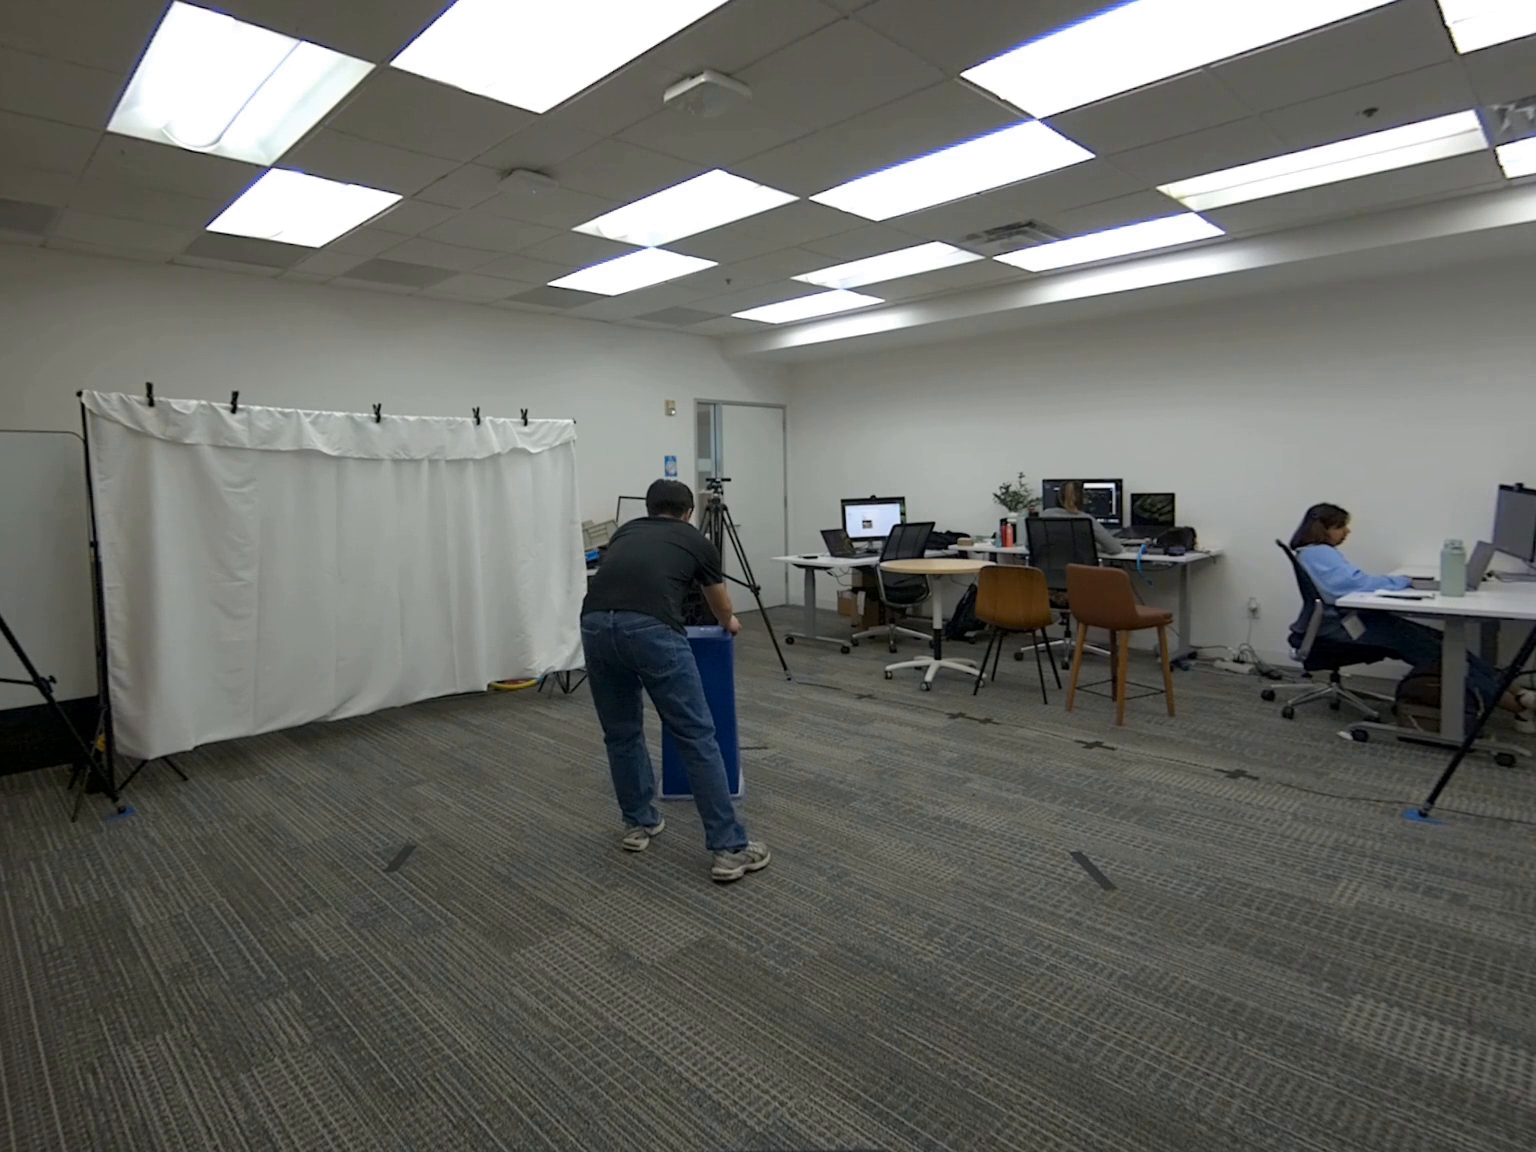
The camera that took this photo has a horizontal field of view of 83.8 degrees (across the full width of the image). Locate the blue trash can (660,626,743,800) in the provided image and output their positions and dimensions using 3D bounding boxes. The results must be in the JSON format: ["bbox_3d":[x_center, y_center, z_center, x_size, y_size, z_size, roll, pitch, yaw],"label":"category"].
[{"bbox_3d":[-0.308,0.608,3.881,0.378,0.711,0.375,-1,4,-1],"label":"blue trash can"}]
